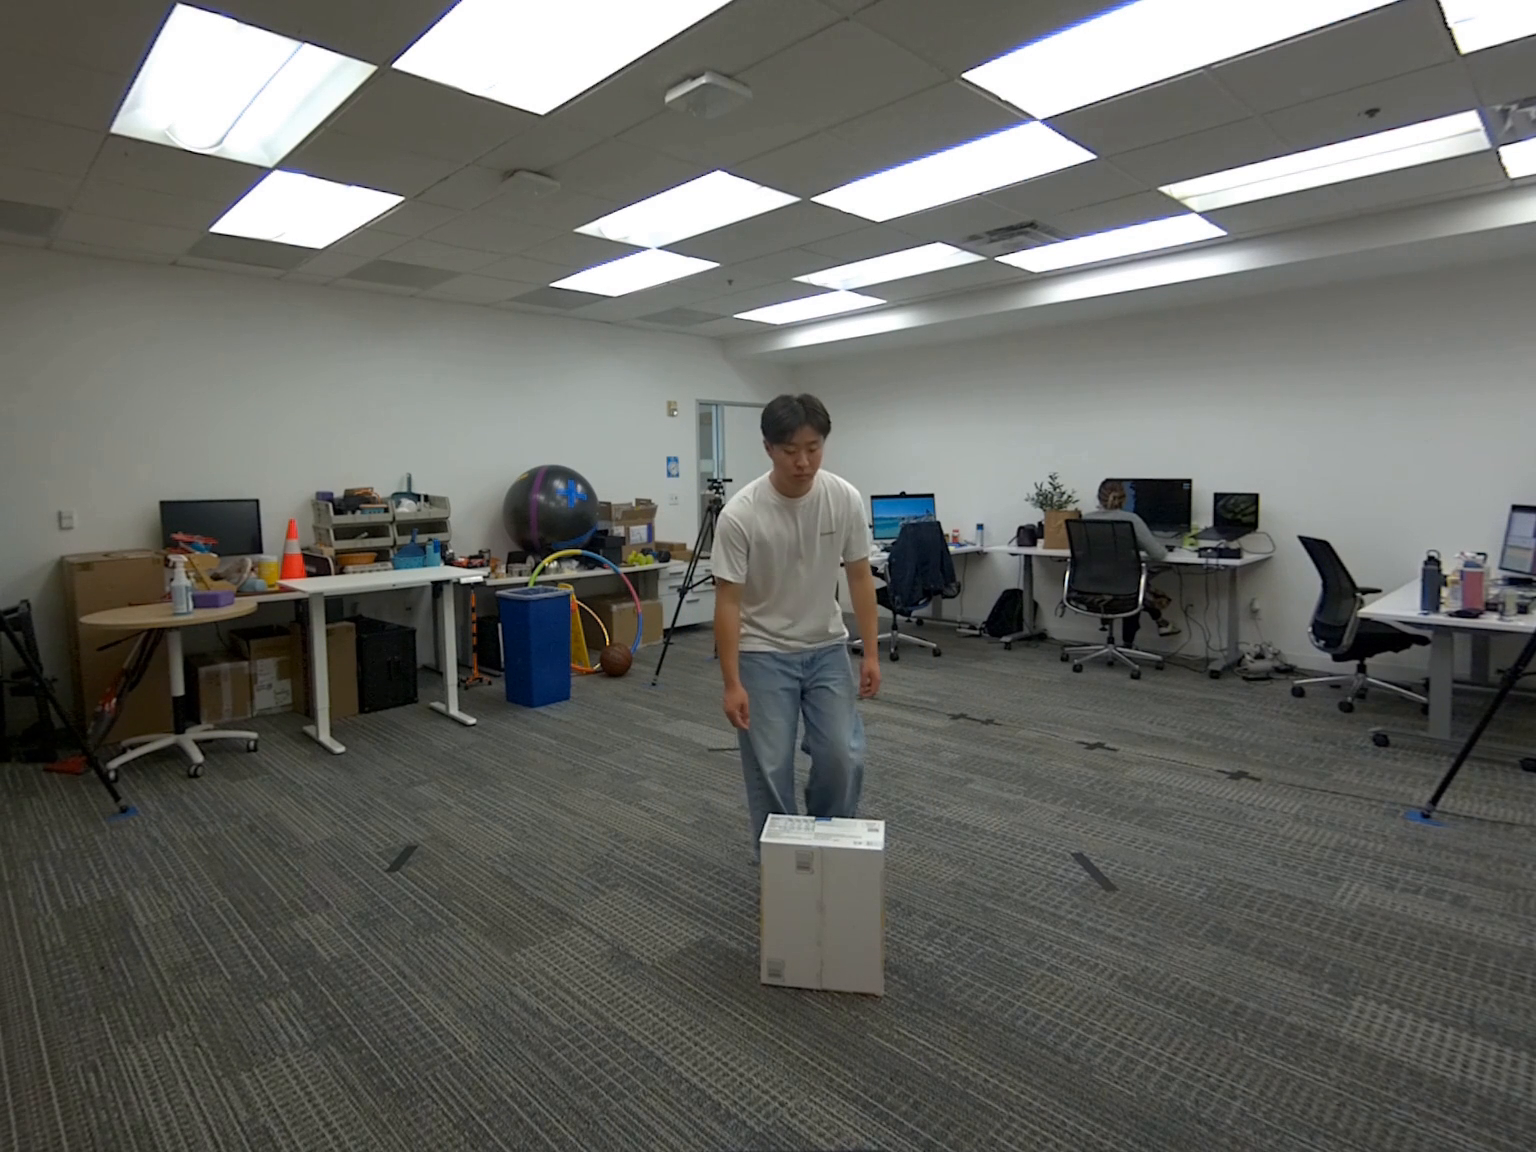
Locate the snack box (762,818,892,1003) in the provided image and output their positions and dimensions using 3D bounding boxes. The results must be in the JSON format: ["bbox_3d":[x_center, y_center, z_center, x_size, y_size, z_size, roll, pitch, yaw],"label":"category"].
[{"bbox_3d":[0.169,0.926,2.411,0.344,0.404,0.204,0,3,10],"label":"snack box"}]
